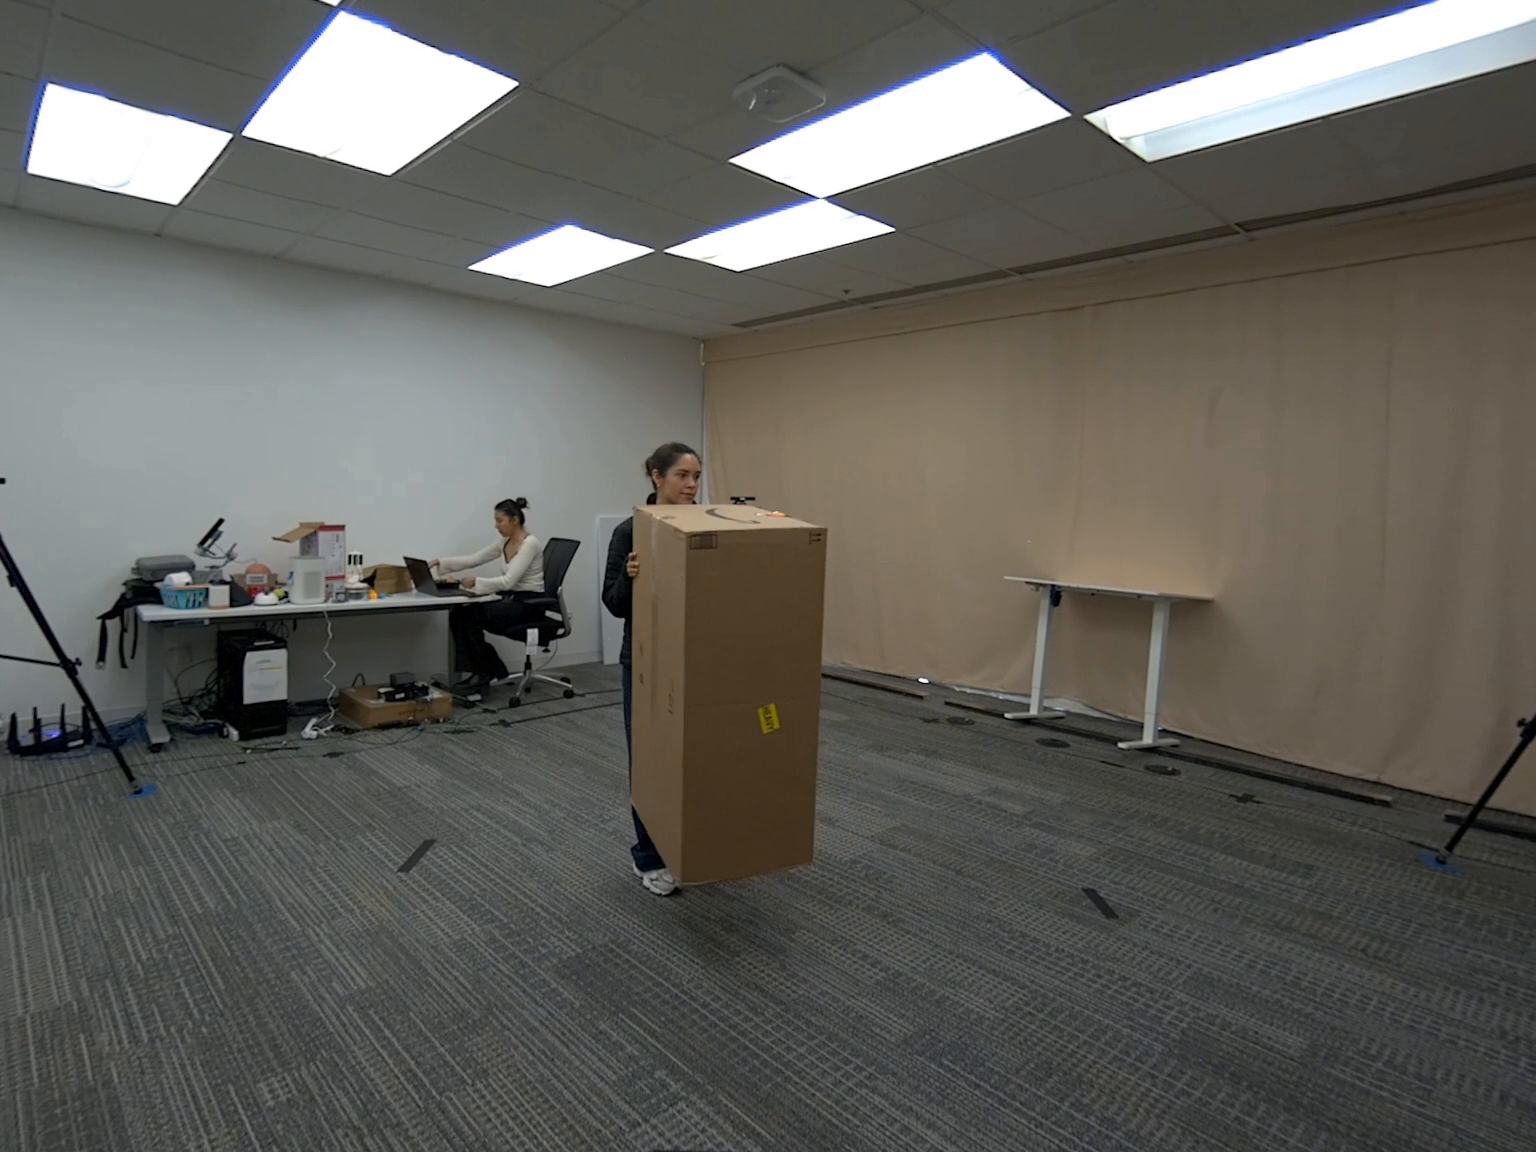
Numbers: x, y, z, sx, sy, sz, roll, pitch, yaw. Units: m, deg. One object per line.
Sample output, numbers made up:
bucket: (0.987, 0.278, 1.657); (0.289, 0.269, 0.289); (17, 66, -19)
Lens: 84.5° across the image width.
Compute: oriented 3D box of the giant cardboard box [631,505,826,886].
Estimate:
giant cardboard box: (-0.136, 0.328, 2.622); (0.419, 1.019, 0.590); (-2, 10, -22)
